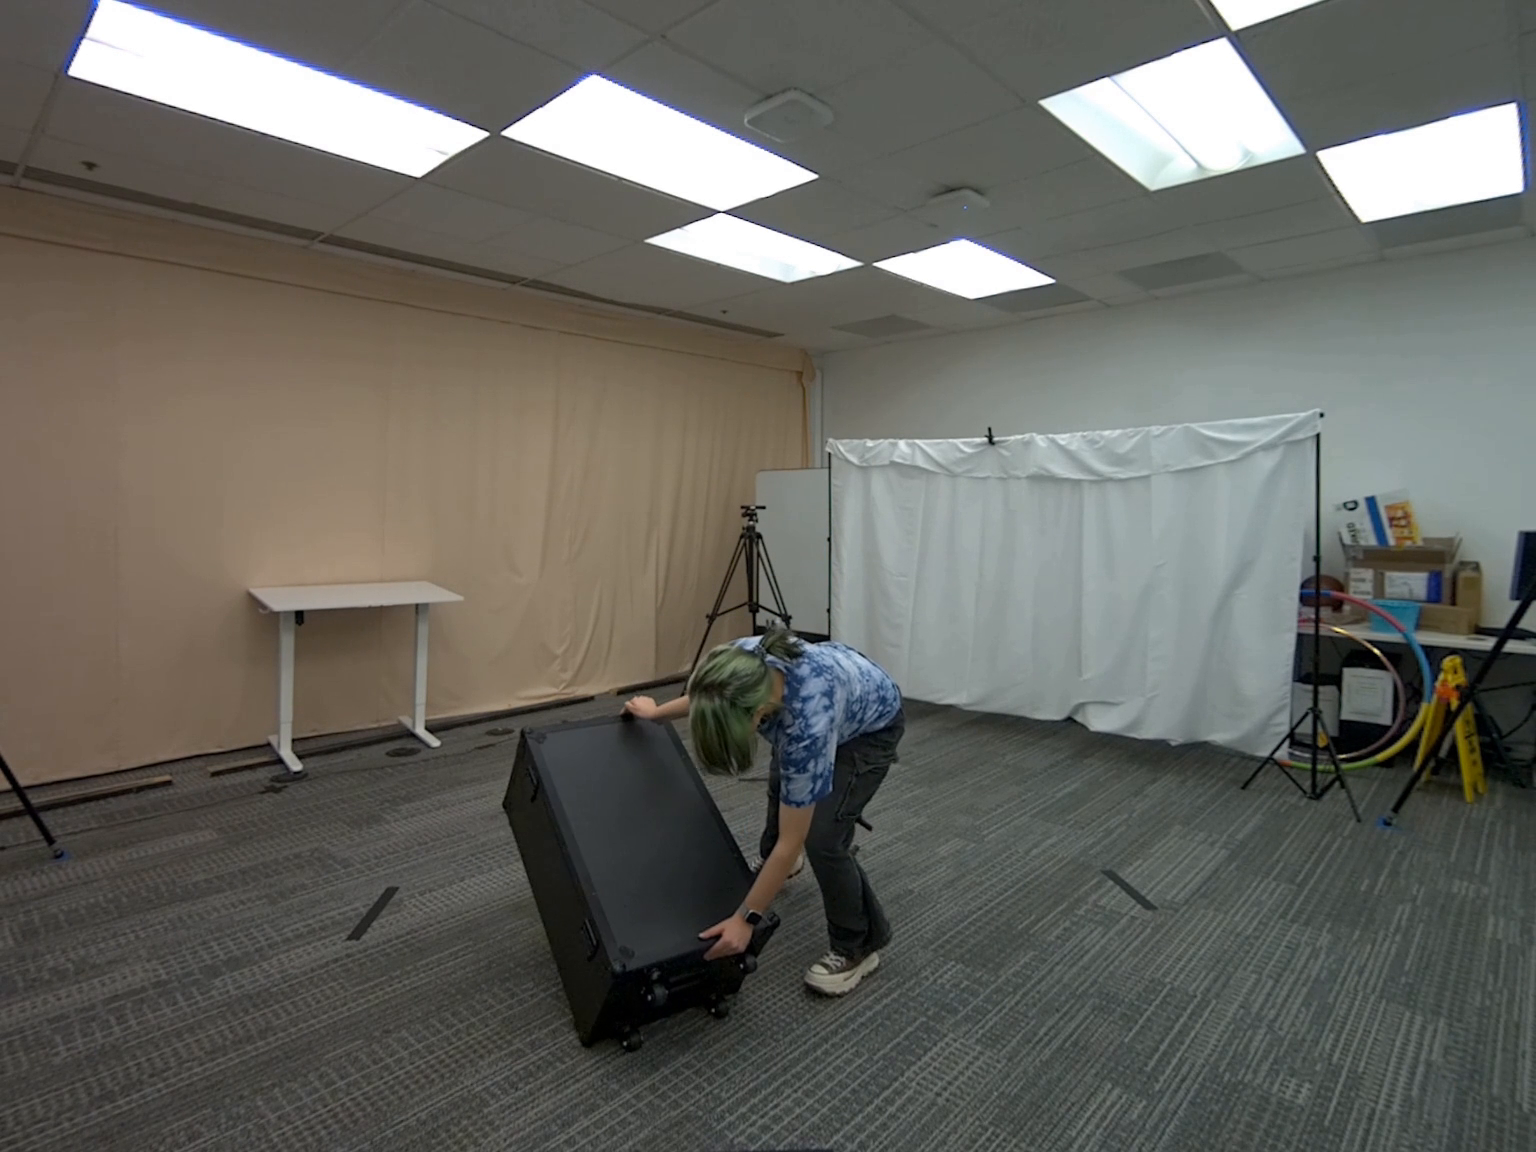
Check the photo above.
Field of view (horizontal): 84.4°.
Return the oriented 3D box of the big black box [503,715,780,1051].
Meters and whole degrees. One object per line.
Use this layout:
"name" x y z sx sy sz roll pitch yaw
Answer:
"big black box" -0.416 0.808 2.496 0.507 0.394 0.890 -4 41 -32
